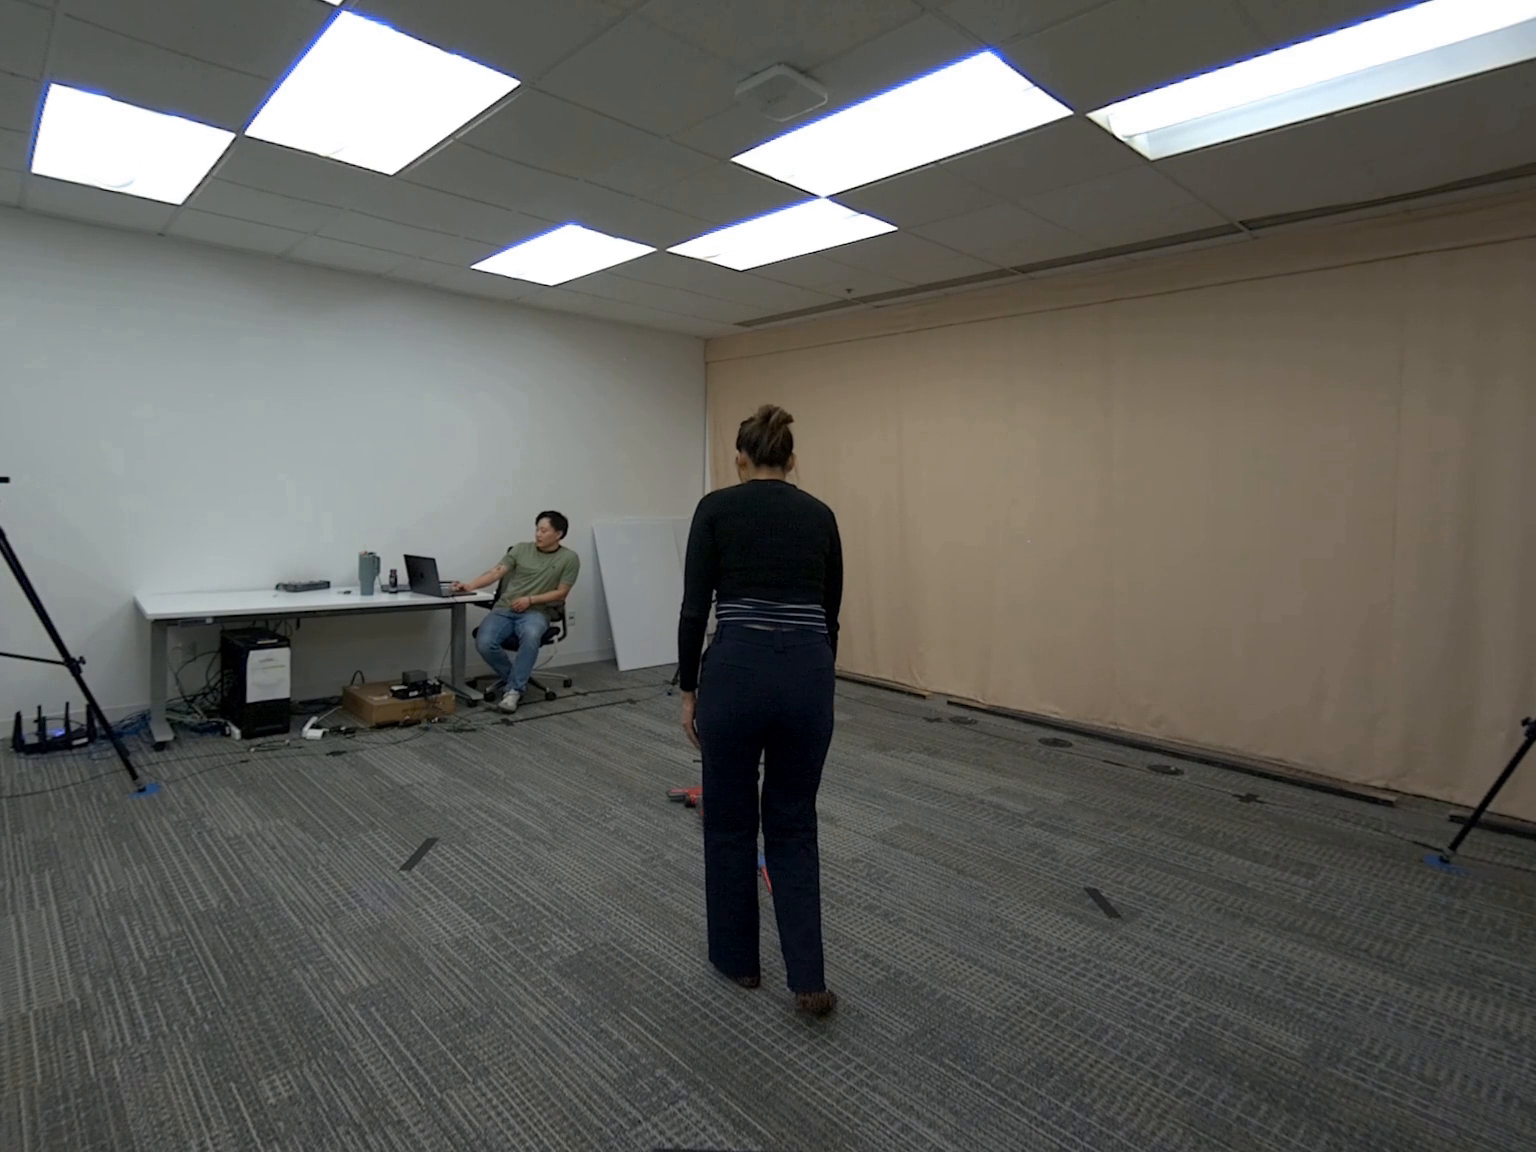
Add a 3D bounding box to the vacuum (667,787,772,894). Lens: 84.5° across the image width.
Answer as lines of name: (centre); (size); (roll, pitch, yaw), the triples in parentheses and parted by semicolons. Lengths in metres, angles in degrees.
vacuum: (-0.167, 1.025, 3.346); (0.249, 0.143, 1.065); (-5, 6, -17)
